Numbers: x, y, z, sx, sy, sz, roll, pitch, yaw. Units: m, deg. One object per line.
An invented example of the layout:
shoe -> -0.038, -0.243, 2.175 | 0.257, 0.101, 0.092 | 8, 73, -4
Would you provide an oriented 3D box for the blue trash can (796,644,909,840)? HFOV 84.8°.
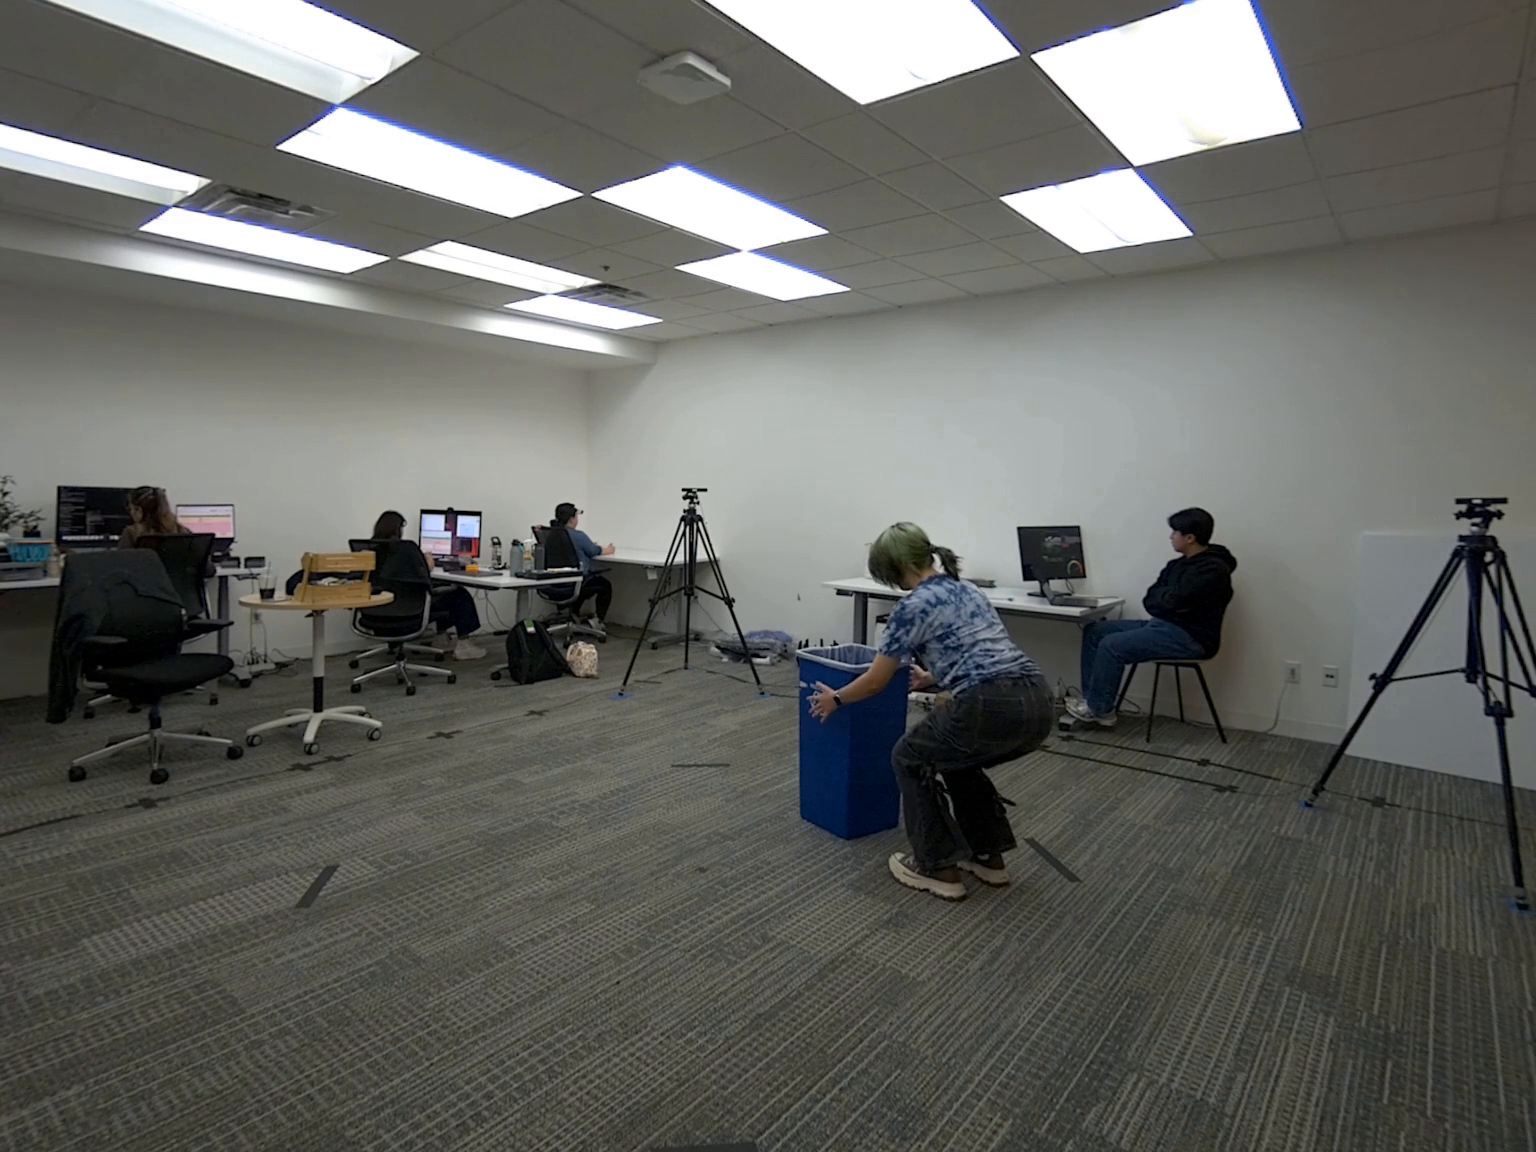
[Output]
blue trash can -> 0.351, 0.680, 3.575 | 0.367, 0.711, 0.386 | -1, 4, -37
